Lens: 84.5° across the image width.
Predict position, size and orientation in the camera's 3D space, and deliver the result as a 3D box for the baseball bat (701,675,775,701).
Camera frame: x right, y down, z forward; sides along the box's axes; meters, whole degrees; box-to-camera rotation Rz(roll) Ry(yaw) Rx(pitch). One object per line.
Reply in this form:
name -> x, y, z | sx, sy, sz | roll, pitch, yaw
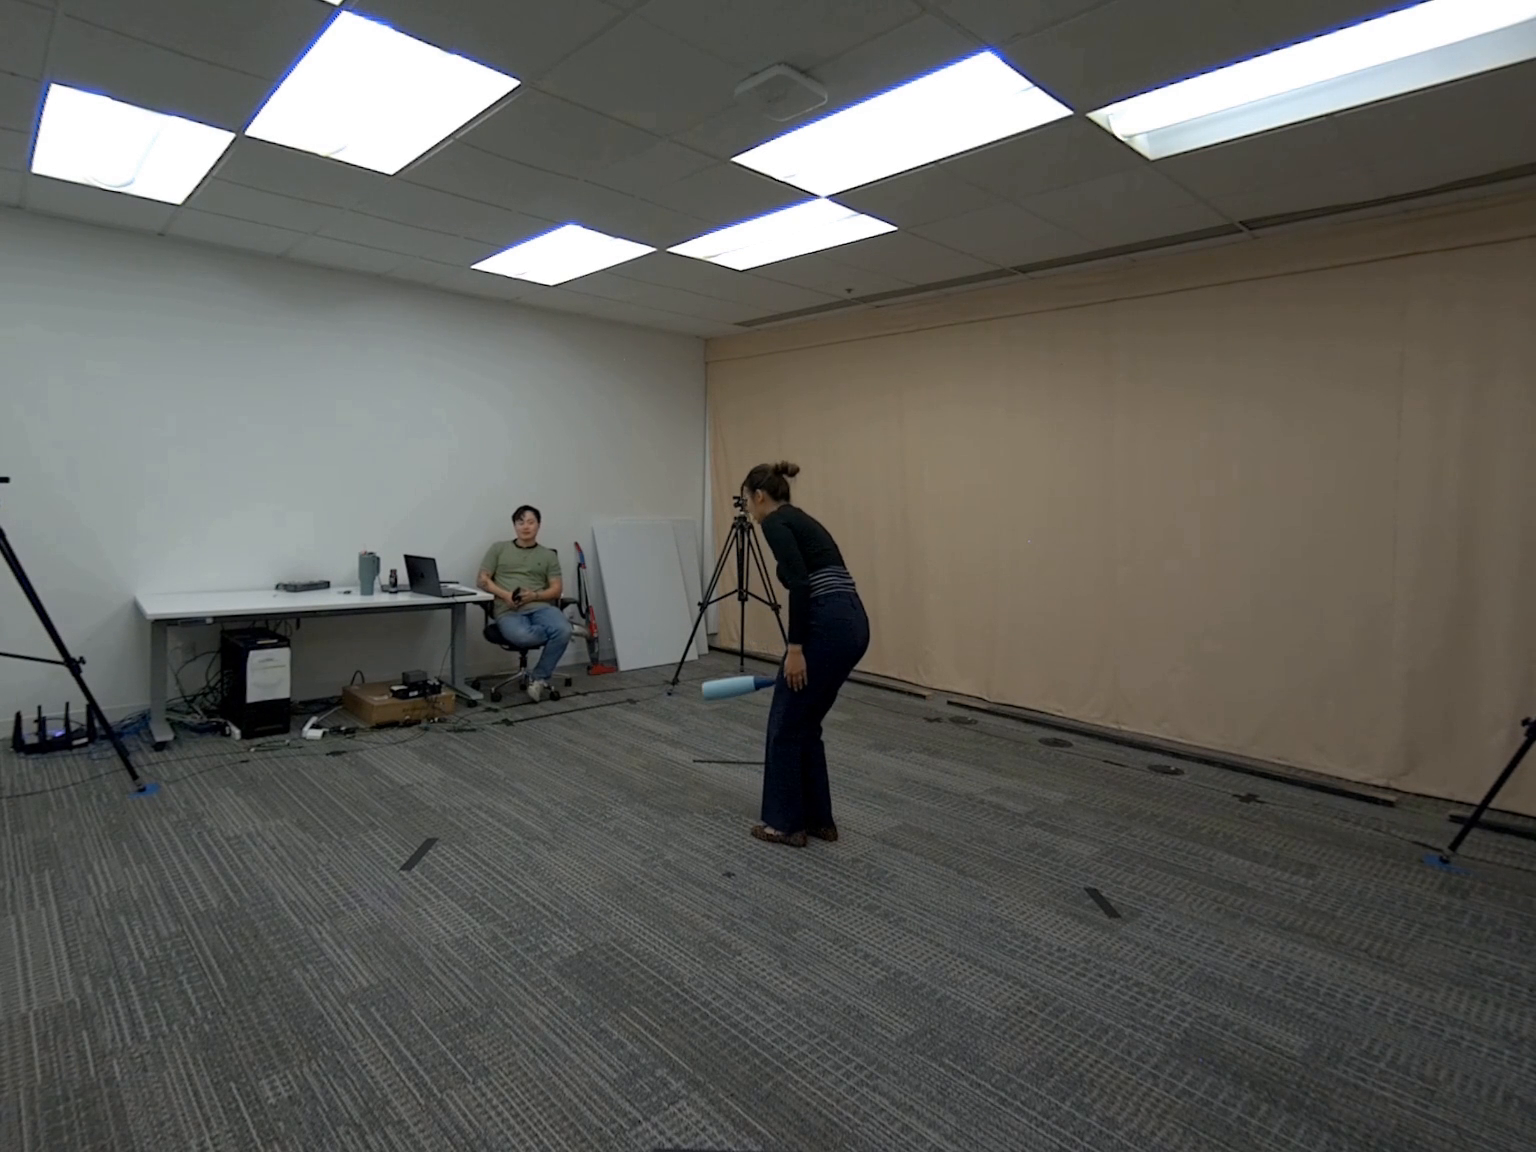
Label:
baseball bat -> -0.050, 0.497, 3.845 | 0.546, 0.089, 0.089 | -9, 3, 9
